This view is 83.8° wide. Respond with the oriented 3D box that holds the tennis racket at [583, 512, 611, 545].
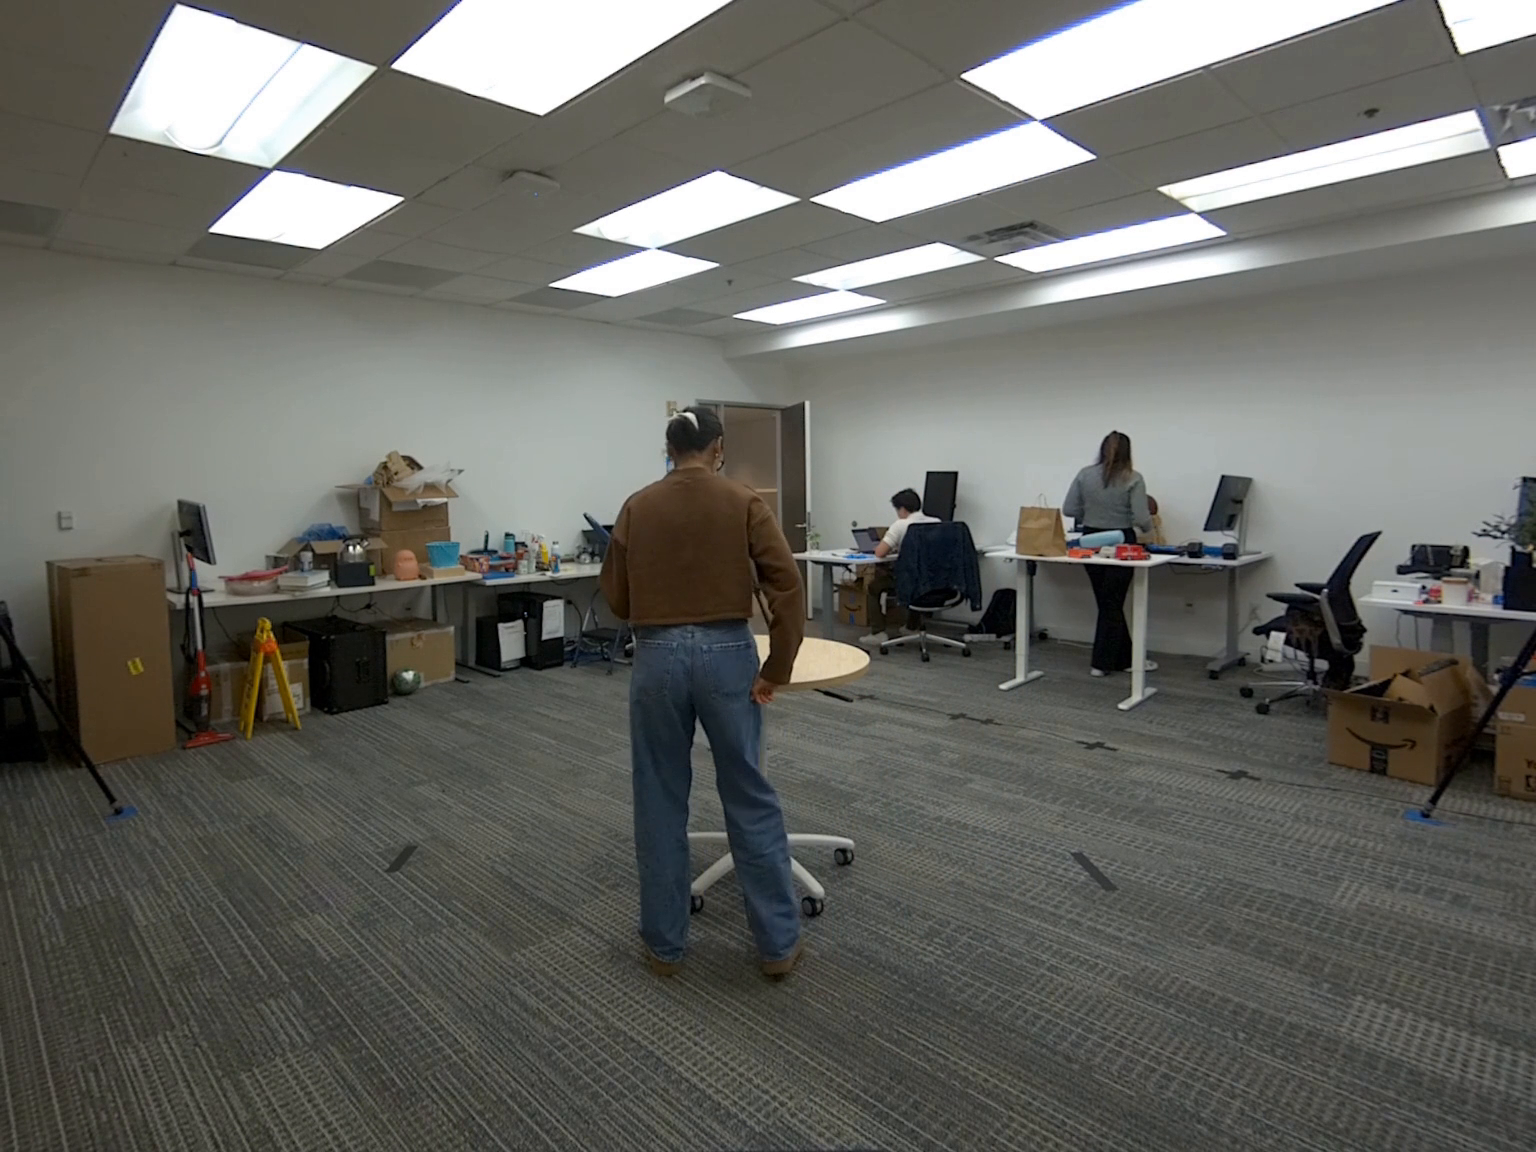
[{"bbox_3d":[-0.487,-0.085,2.880,0.031,0.206,0.450,-37,45,-12],"label":"tennis racket"}]
